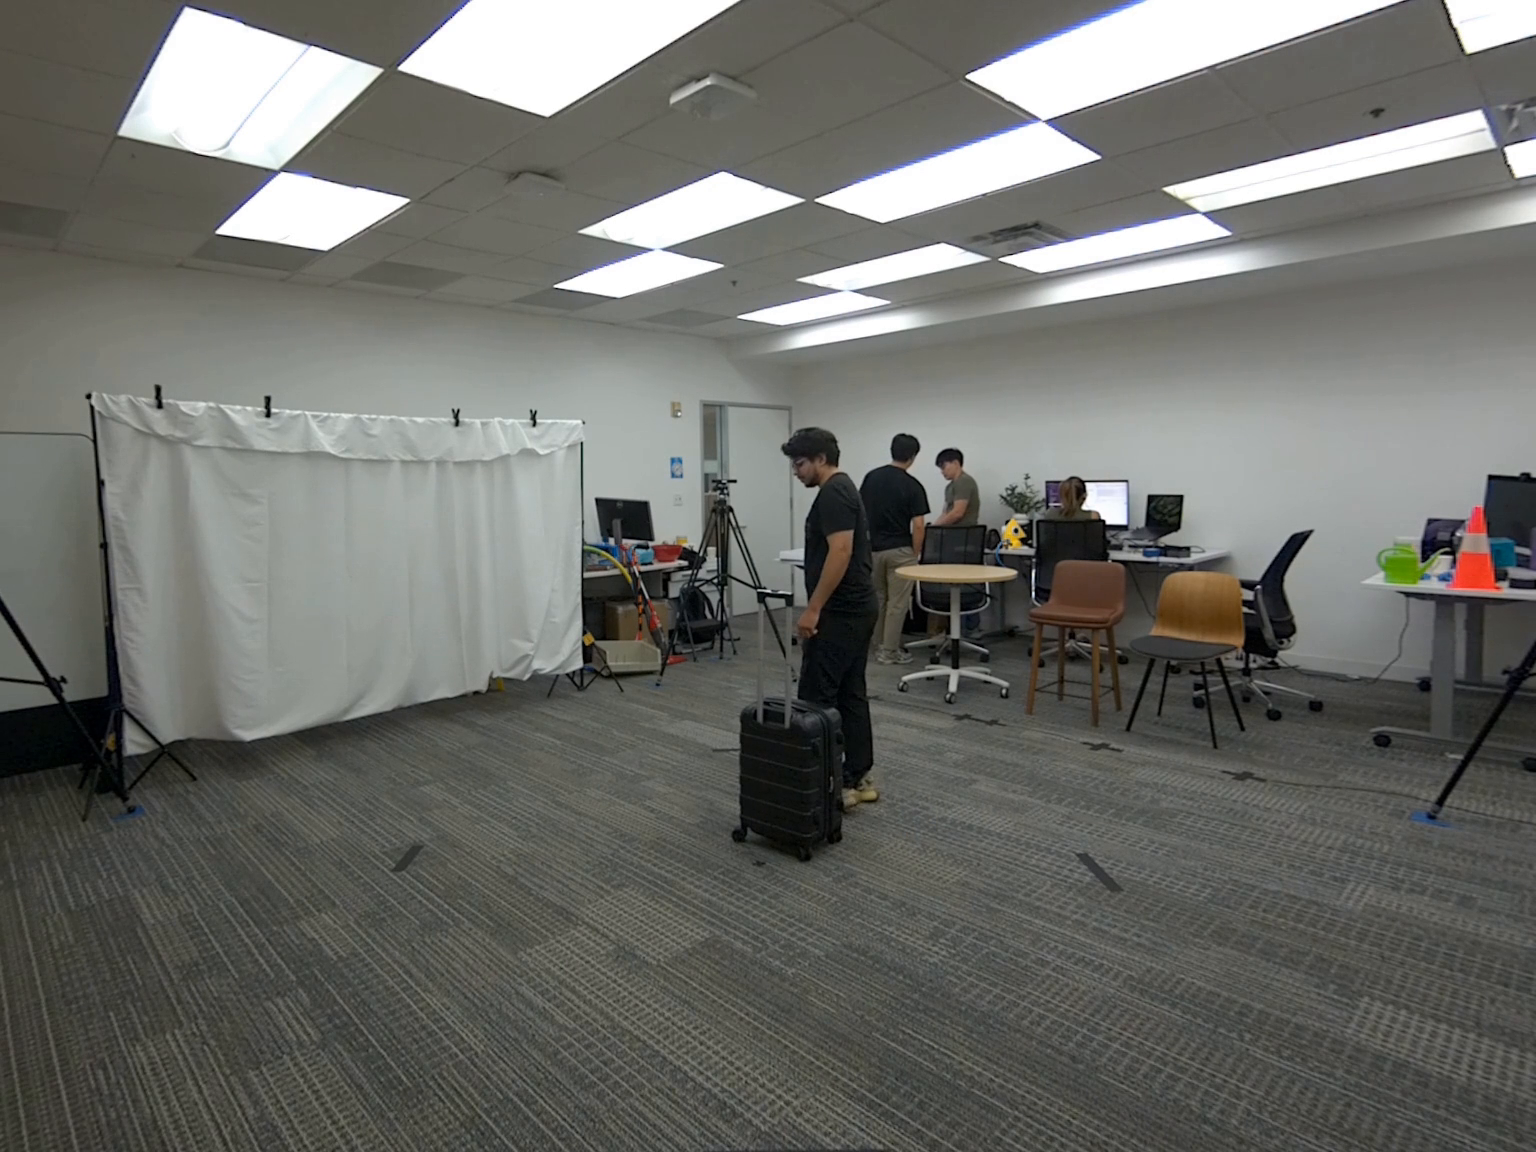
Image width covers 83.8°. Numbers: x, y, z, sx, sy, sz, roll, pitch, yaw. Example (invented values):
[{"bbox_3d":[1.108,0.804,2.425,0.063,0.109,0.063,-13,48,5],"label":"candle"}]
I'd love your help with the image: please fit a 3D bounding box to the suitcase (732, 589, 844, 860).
[{"bbox_3d":[0.083,0.549,3.269,0.396,0.977,0.250,3,3,39],"label":"suitcase"}]
